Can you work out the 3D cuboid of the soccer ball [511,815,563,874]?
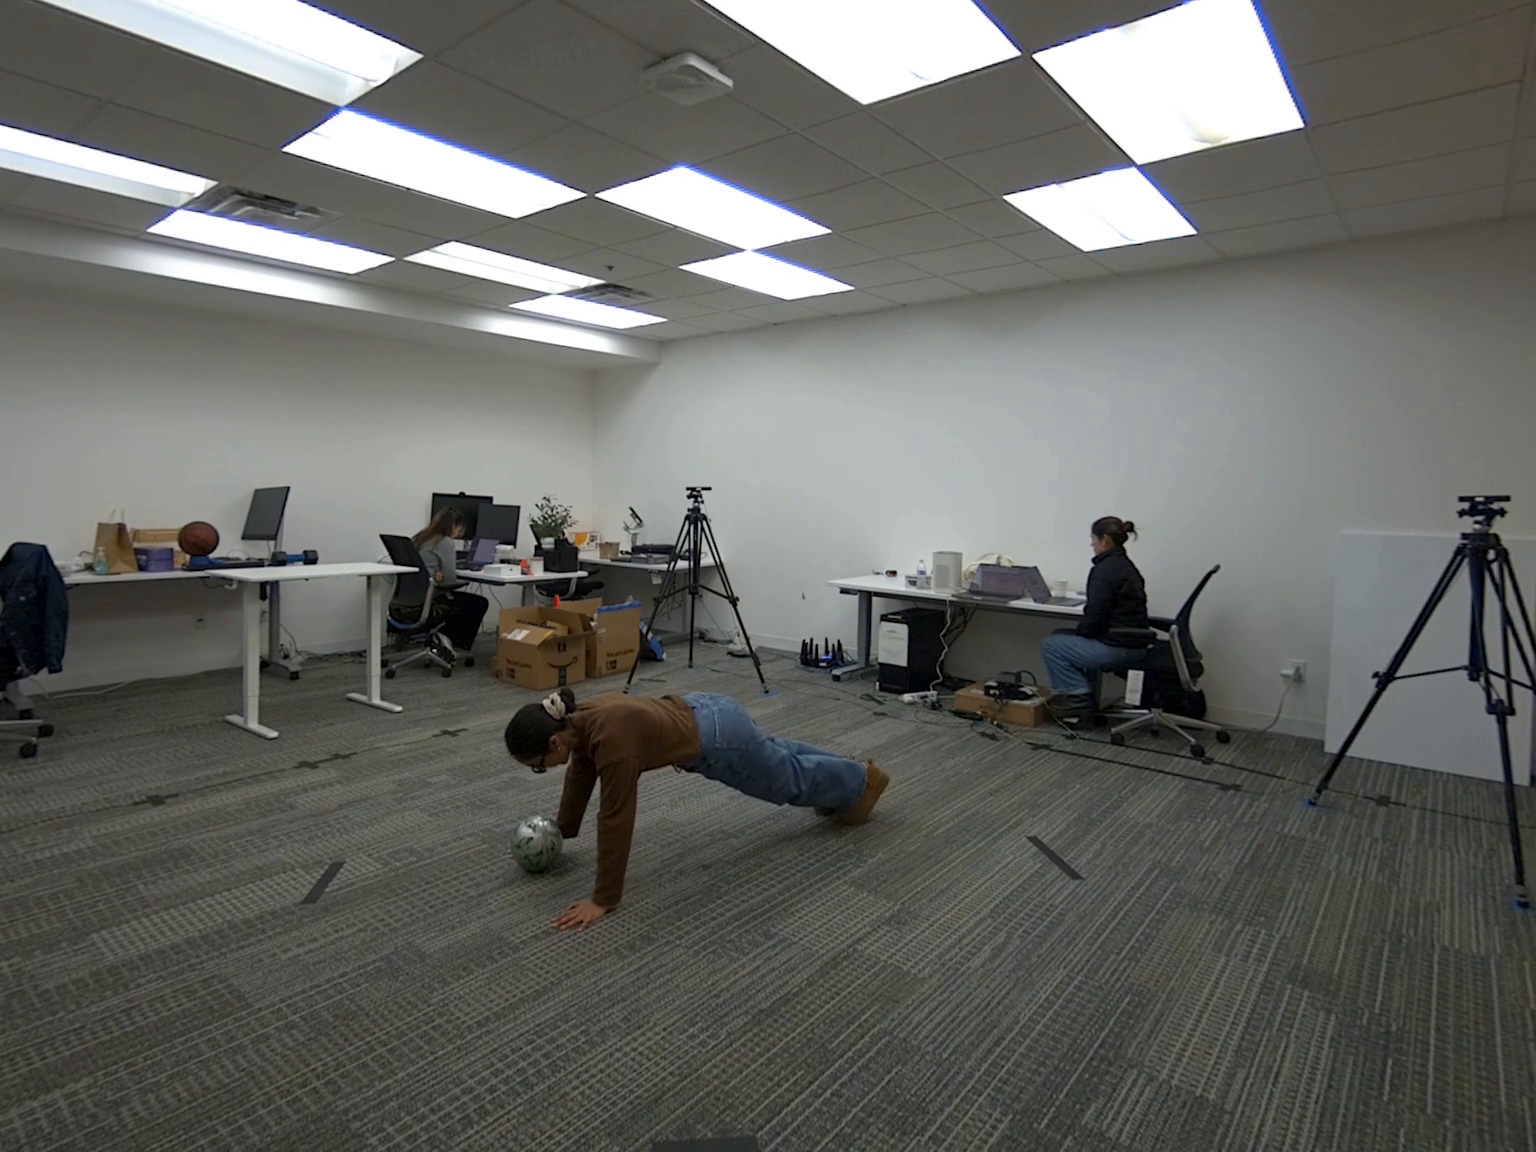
[{"bbox_3d":[-0.849,0.971,3.082,0.187,0.187,0.188,1,4,-2],"label":"soccer ball"}]
